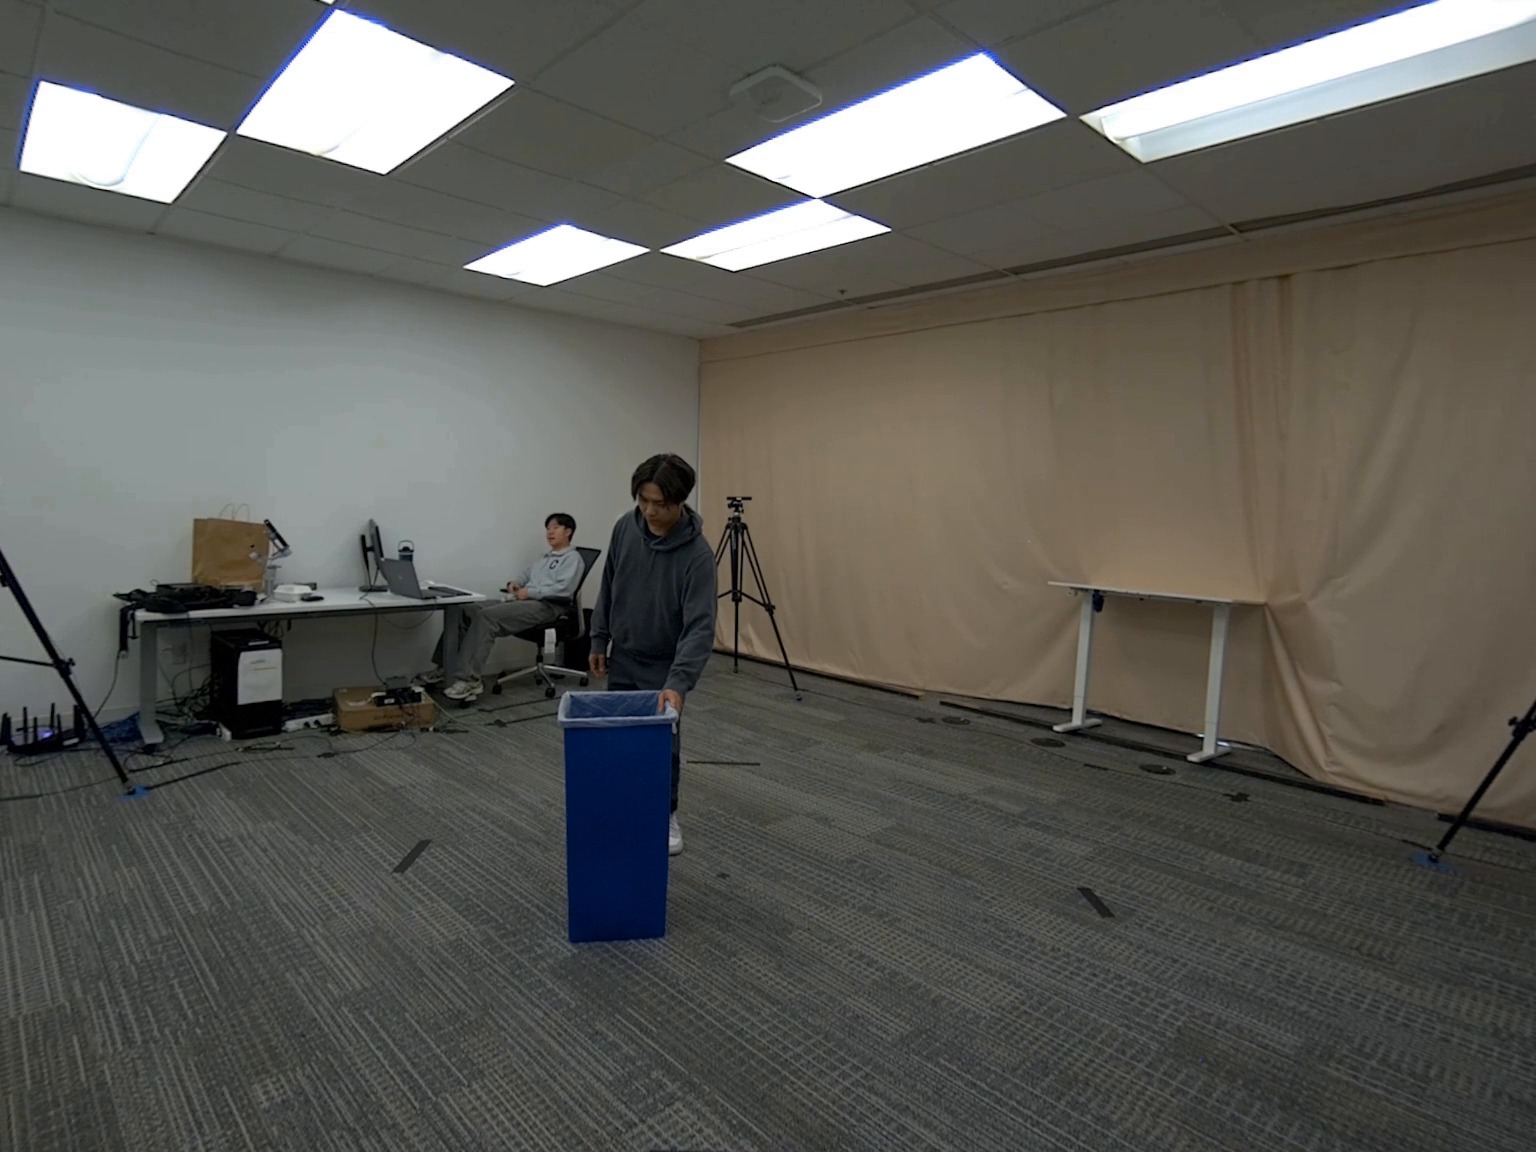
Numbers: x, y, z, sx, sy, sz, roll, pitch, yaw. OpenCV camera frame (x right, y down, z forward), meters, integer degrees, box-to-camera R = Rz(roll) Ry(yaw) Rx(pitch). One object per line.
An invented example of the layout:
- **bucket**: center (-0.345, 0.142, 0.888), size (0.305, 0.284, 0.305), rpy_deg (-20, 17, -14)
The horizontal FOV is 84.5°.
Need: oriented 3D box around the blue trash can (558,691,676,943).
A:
- **blue trash can**: center (-0.508, 0.777, 2.756), size (0.371, 0.712, 0.382), rpy_deg (1, 3, -10)
